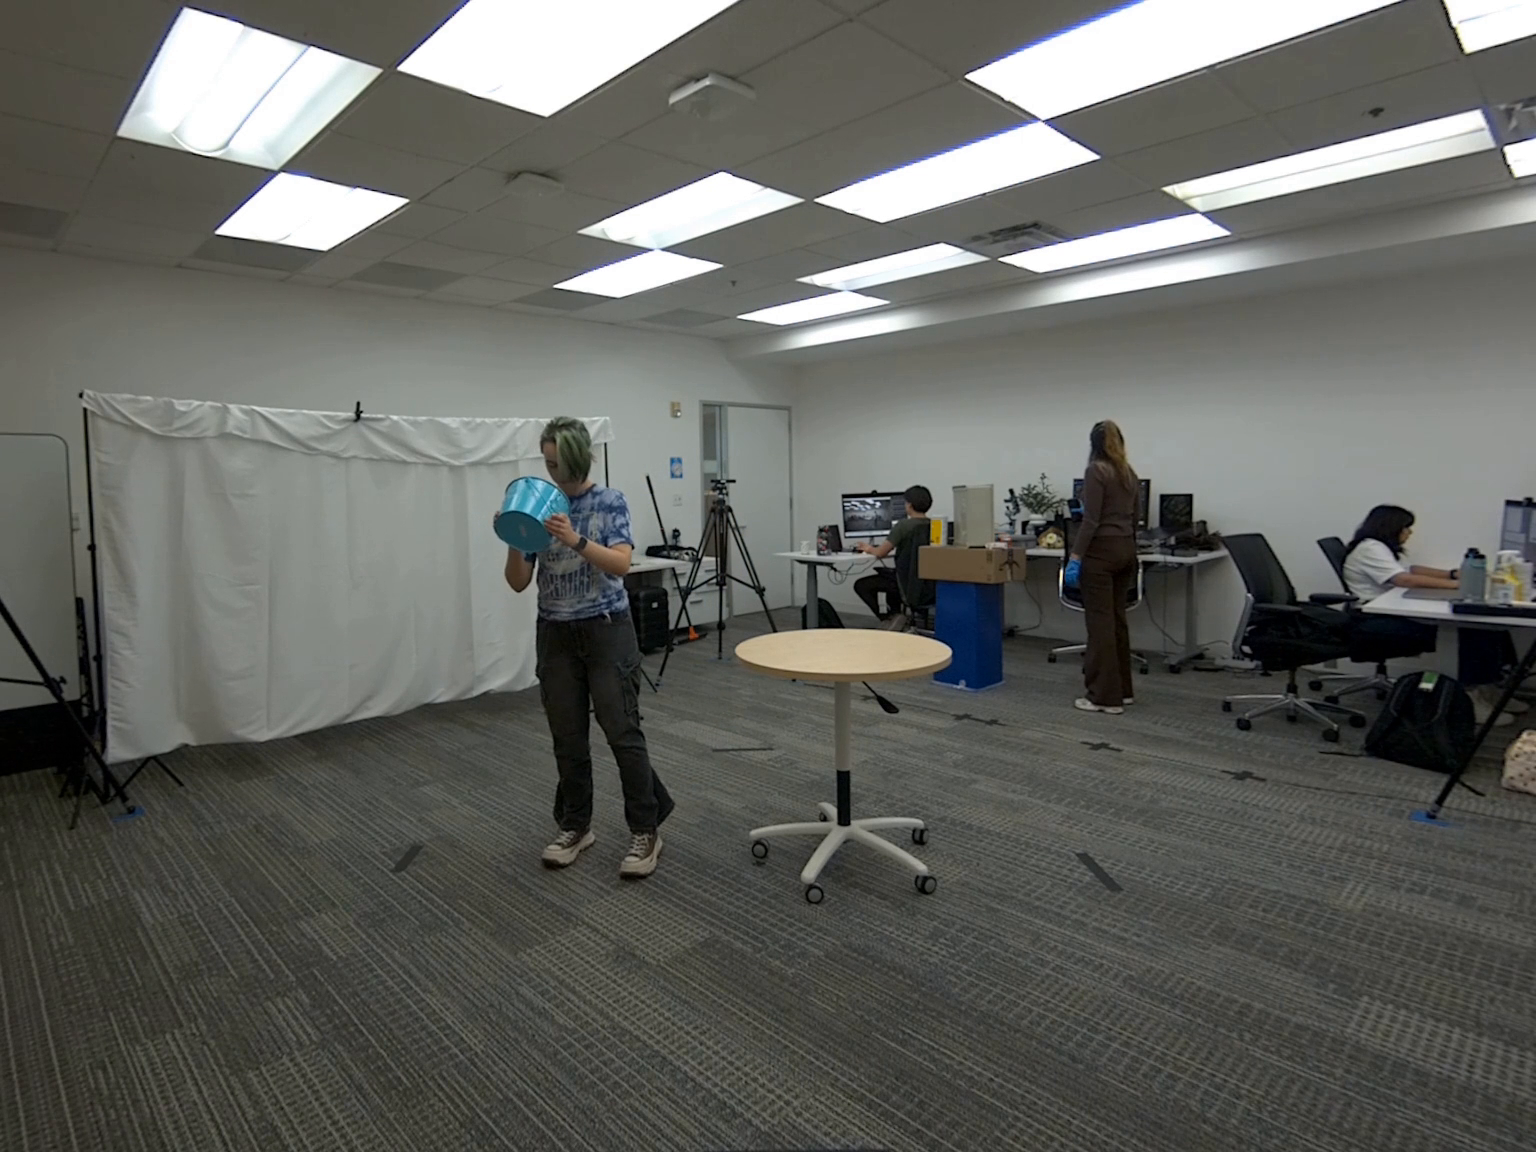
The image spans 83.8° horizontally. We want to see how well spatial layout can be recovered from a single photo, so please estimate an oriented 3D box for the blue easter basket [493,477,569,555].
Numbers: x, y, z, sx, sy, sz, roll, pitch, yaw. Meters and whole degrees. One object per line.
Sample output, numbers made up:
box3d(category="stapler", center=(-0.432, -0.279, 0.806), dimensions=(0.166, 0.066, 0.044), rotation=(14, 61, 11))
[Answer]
box3d(category="blue easter basket", center=(-0.792, -0.195, 2.860), dimensions=(0.247, 0.236, 0.159), rotation=(0, 42, 13))
